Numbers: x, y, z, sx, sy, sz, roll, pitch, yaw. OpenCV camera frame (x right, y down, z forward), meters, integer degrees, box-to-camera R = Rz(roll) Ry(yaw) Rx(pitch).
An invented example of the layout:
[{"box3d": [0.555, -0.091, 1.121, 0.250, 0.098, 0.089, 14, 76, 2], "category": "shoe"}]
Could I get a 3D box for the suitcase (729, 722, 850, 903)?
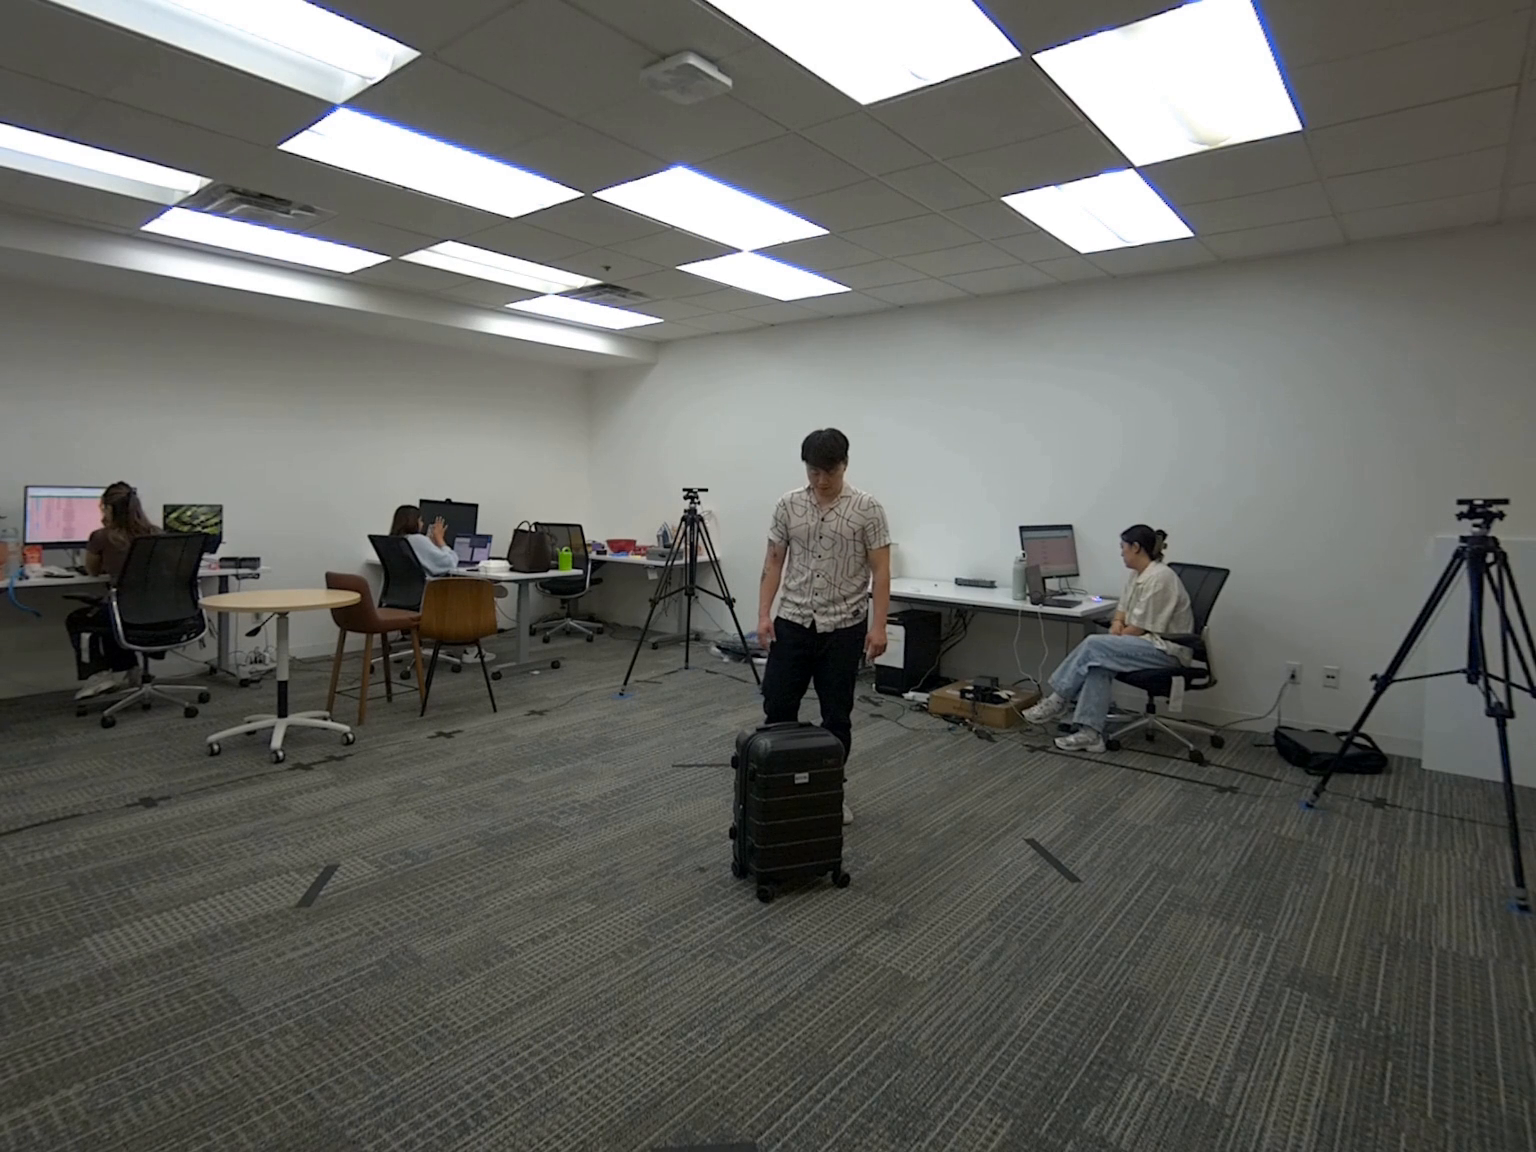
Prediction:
[{"box3d": [0.066, 0.804, 3.028, 0.367, 0.548, 0.255, 0, 3, -24], "category": "suitcase"}]
